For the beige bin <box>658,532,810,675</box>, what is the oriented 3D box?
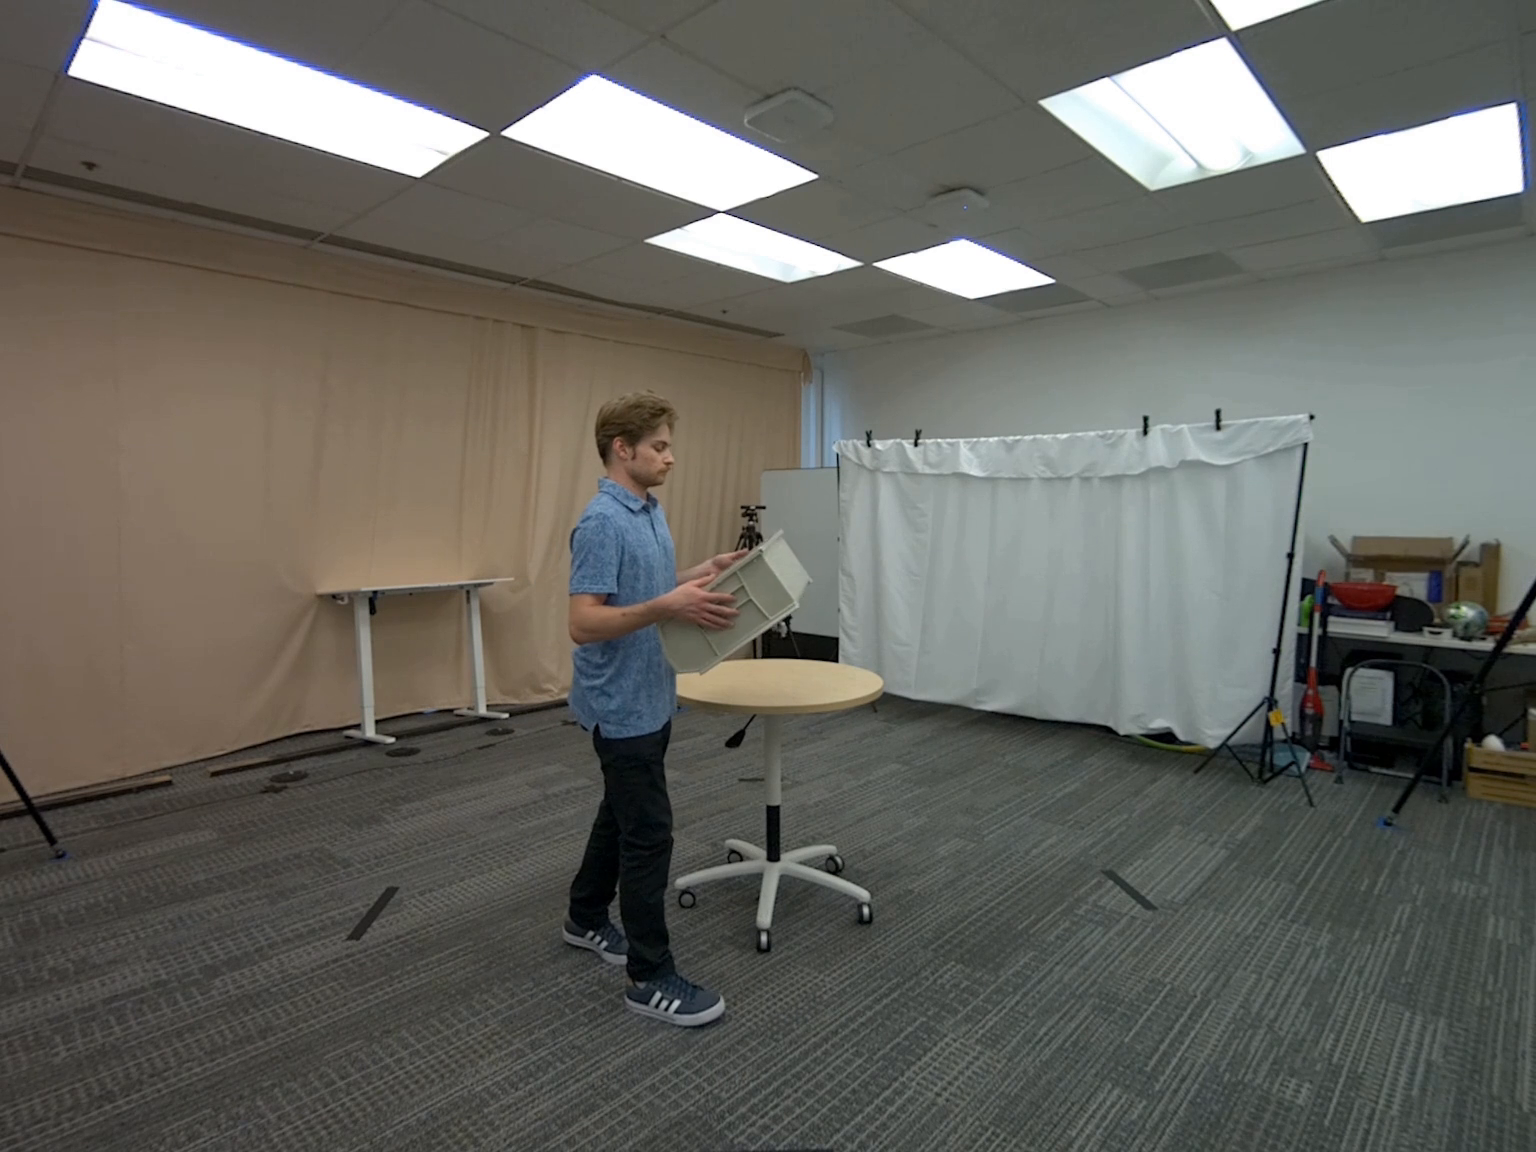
[{"bbox_3d":[-0.078,0.076,2.320,0.380,0.188,0.421,-33,4,11],"label":"beige bin"}]
